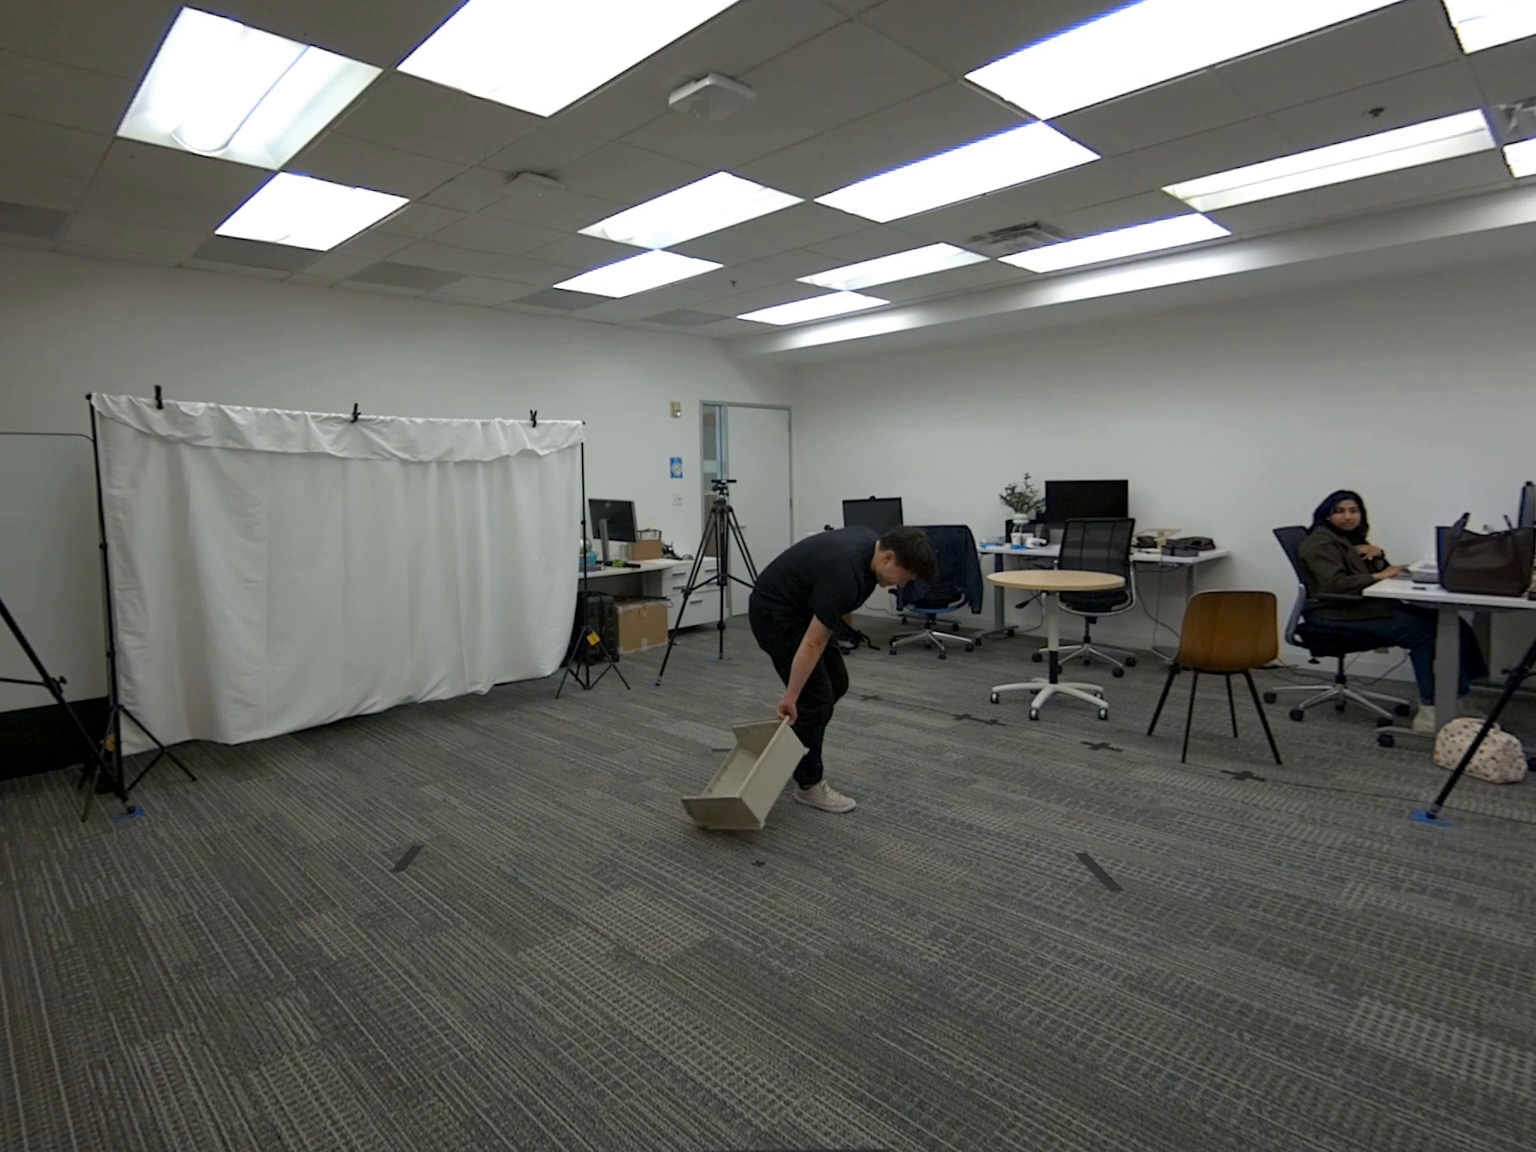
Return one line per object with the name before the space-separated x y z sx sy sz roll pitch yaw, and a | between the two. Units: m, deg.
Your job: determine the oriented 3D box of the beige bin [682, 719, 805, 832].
beige bin | -0.092 0.797 3.439 0.384 0.185 0.422 -17 24 45
